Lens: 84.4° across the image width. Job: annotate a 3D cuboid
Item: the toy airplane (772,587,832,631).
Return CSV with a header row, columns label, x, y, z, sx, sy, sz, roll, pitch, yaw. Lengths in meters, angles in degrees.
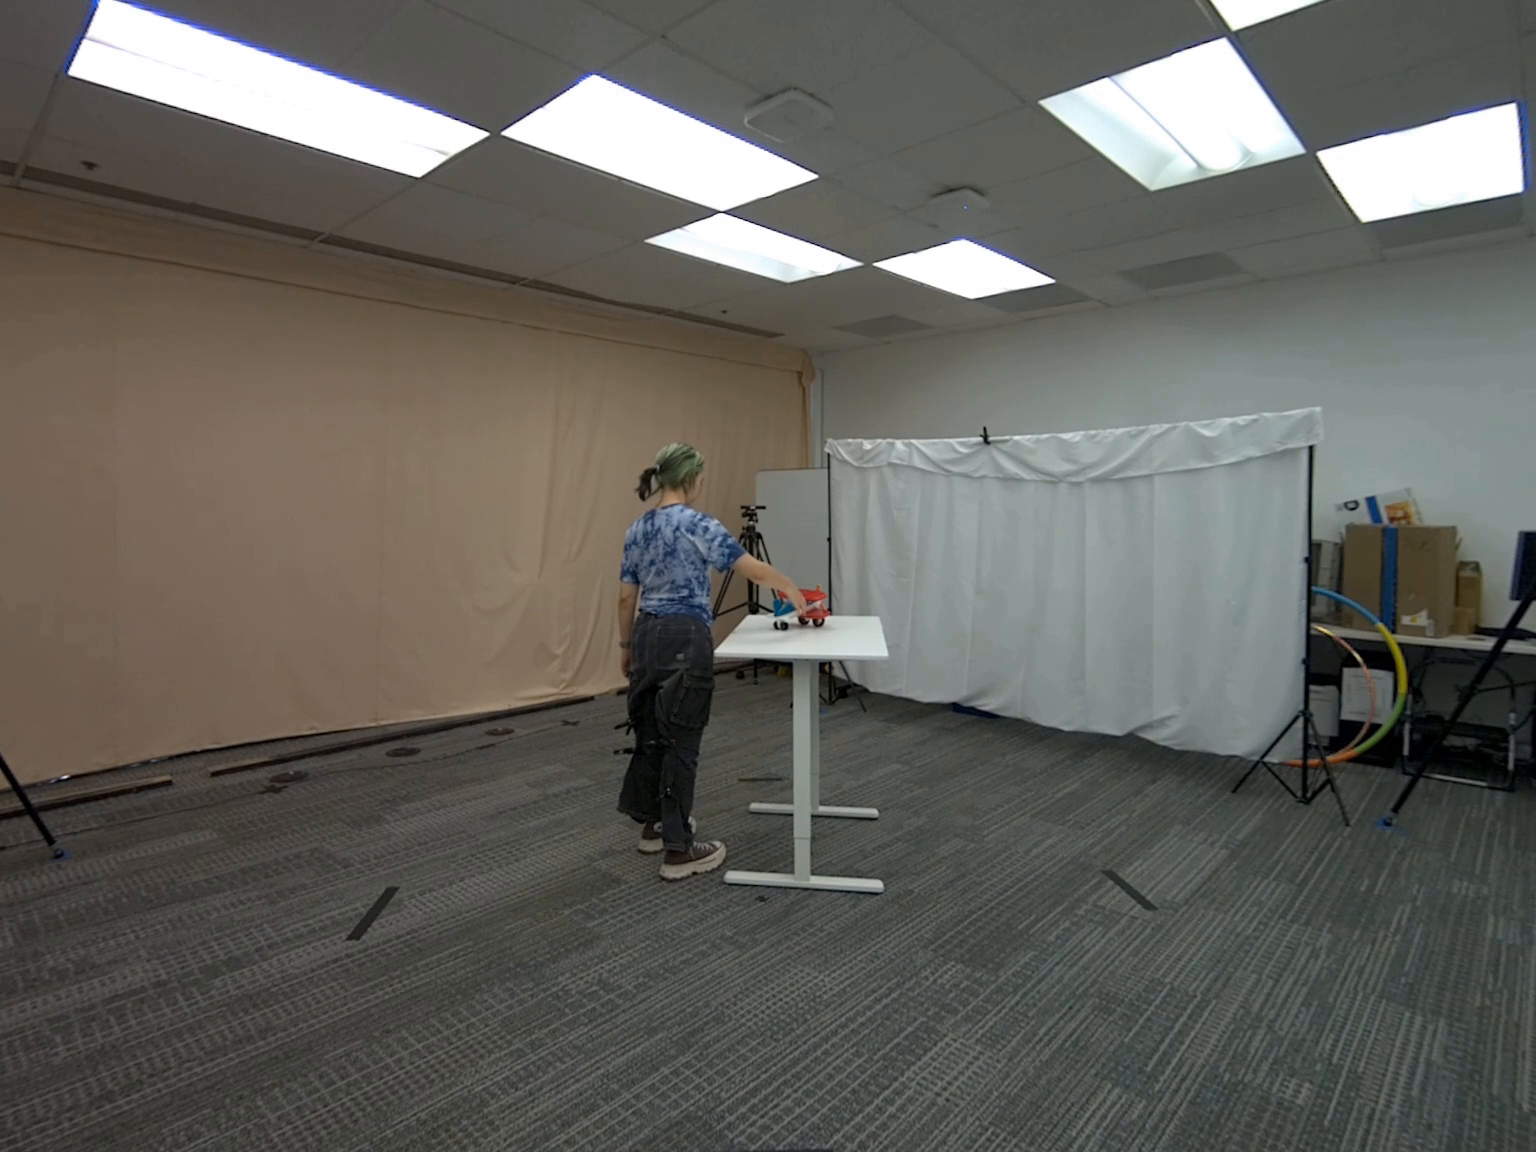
label,x,y,z,sx,sy,sz,roll,pitch,yaw
toy airplane,0.137,0.141,3.509,0.257,0.156,0.254,1,4,21
